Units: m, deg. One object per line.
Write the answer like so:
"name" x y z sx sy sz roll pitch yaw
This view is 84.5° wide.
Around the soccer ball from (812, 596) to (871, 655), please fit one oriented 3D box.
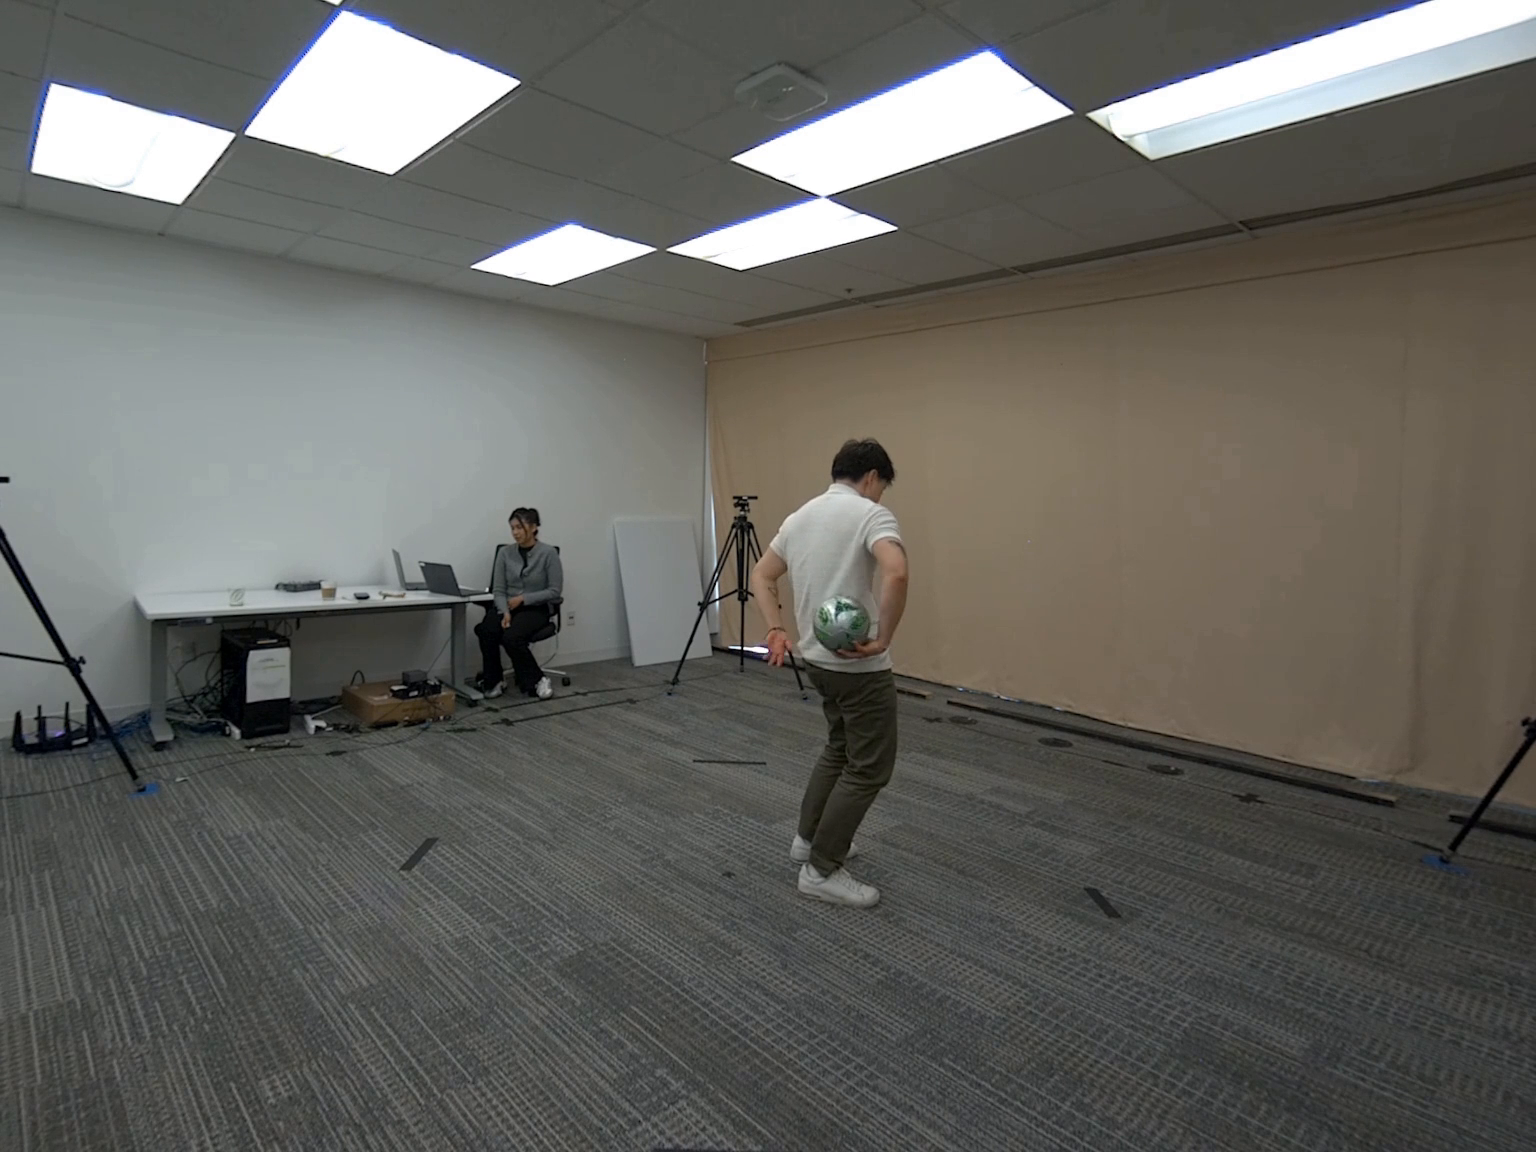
"soccer ball" 0.230 0.158 2.725 0.187 0.187 0.188 1 4 -1
